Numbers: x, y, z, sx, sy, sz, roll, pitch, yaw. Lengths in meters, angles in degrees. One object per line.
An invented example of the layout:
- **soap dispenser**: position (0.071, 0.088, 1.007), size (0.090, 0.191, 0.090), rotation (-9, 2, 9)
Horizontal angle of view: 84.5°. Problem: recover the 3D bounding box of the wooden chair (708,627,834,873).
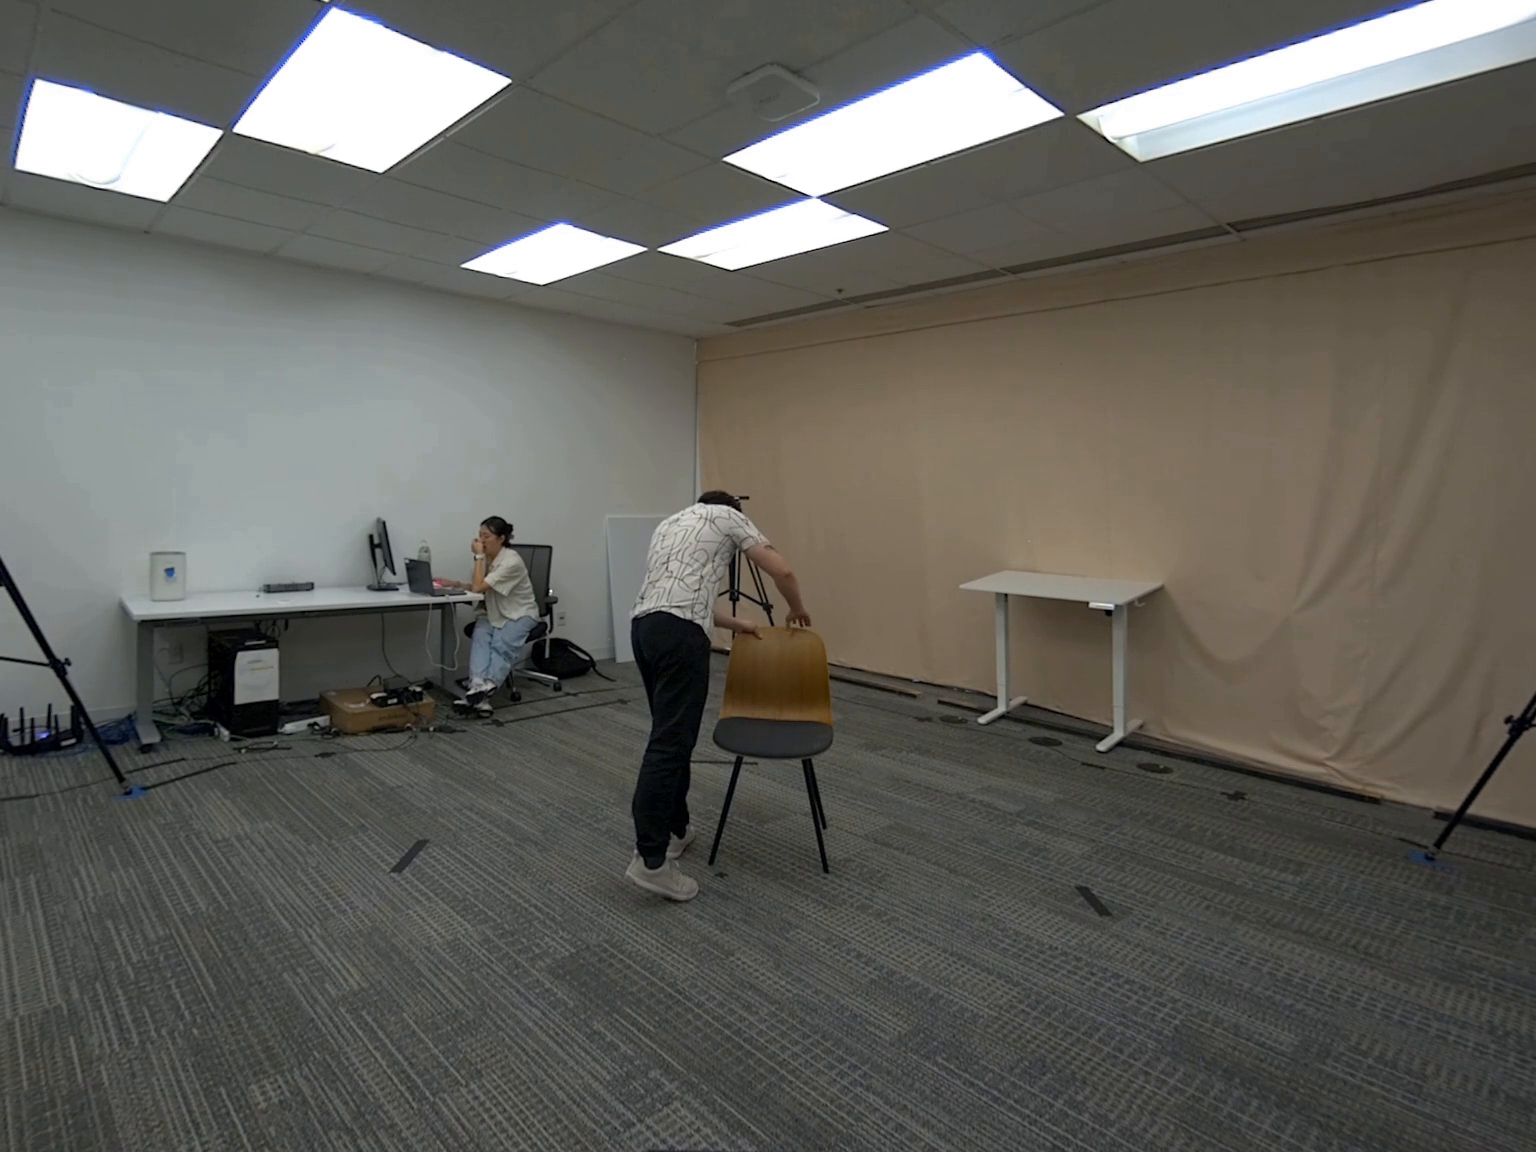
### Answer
- **wooden chair**: position (0.019, 0.656, 3.343), size (0.480, 0.878, 0.520), rotation (2, -1, 4)
